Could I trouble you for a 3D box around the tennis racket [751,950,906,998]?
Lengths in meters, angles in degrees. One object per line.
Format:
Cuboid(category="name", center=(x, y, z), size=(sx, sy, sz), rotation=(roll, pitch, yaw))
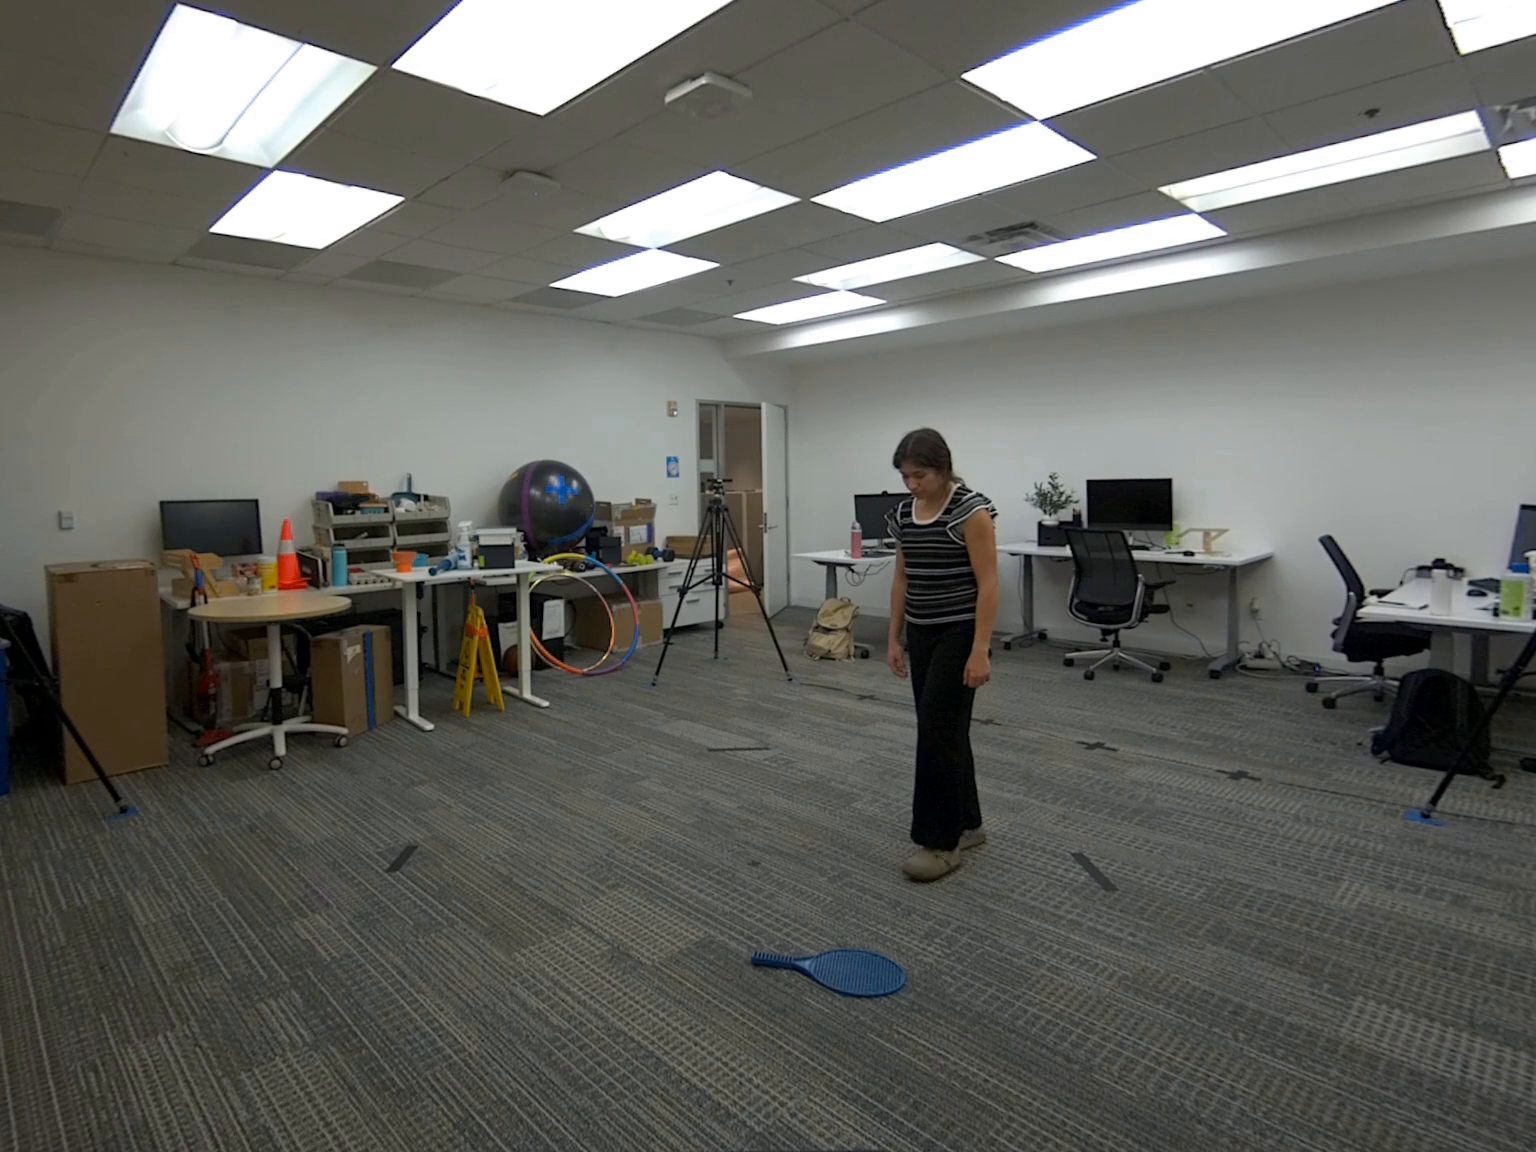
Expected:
Cuboid(category="tennis racket", center=(0.170, 1.108, 2.421), size=(0.437, 0.031, 0.212), rotation=(1, 7, 10))
